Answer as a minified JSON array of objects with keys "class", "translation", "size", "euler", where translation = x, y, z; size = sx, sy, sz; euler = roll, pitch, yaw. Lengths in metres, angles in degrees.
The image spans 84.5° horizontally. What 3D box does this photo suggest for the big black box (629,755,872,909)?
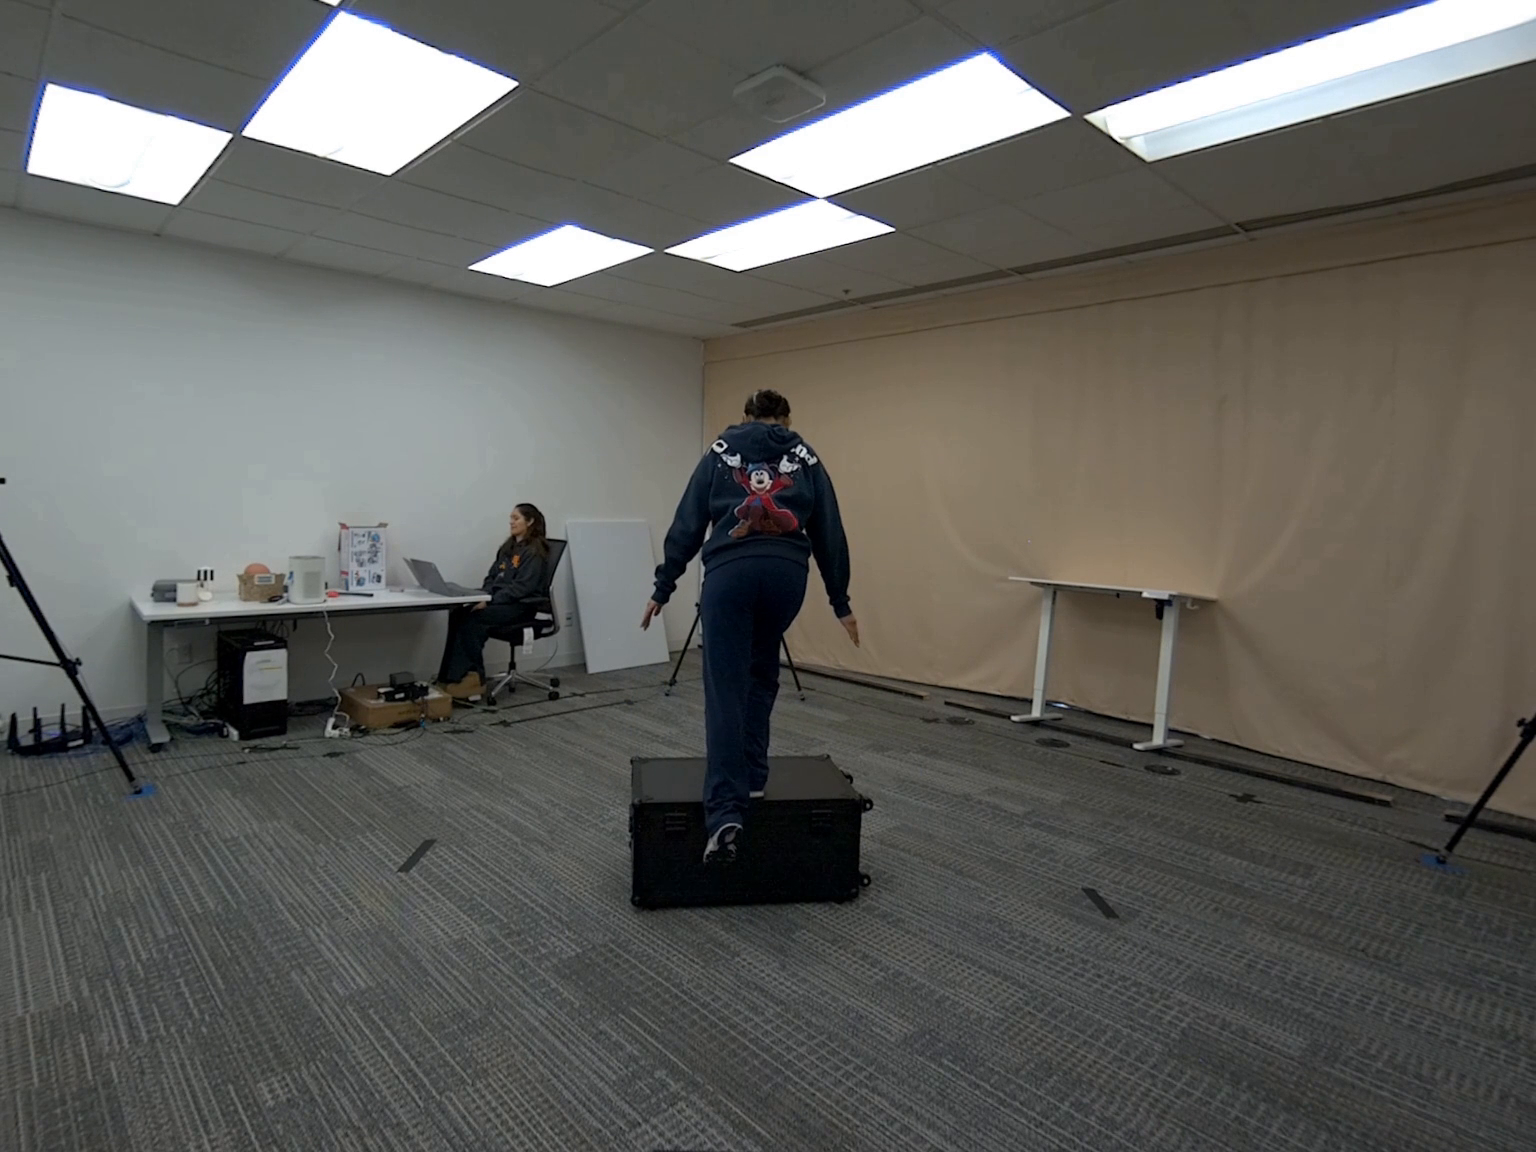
[{"class":"big black box","translation":[-0.077,0.919,3.090],"size":[0.855,0.395,0.526],"euler":[0,5,-9]}]
